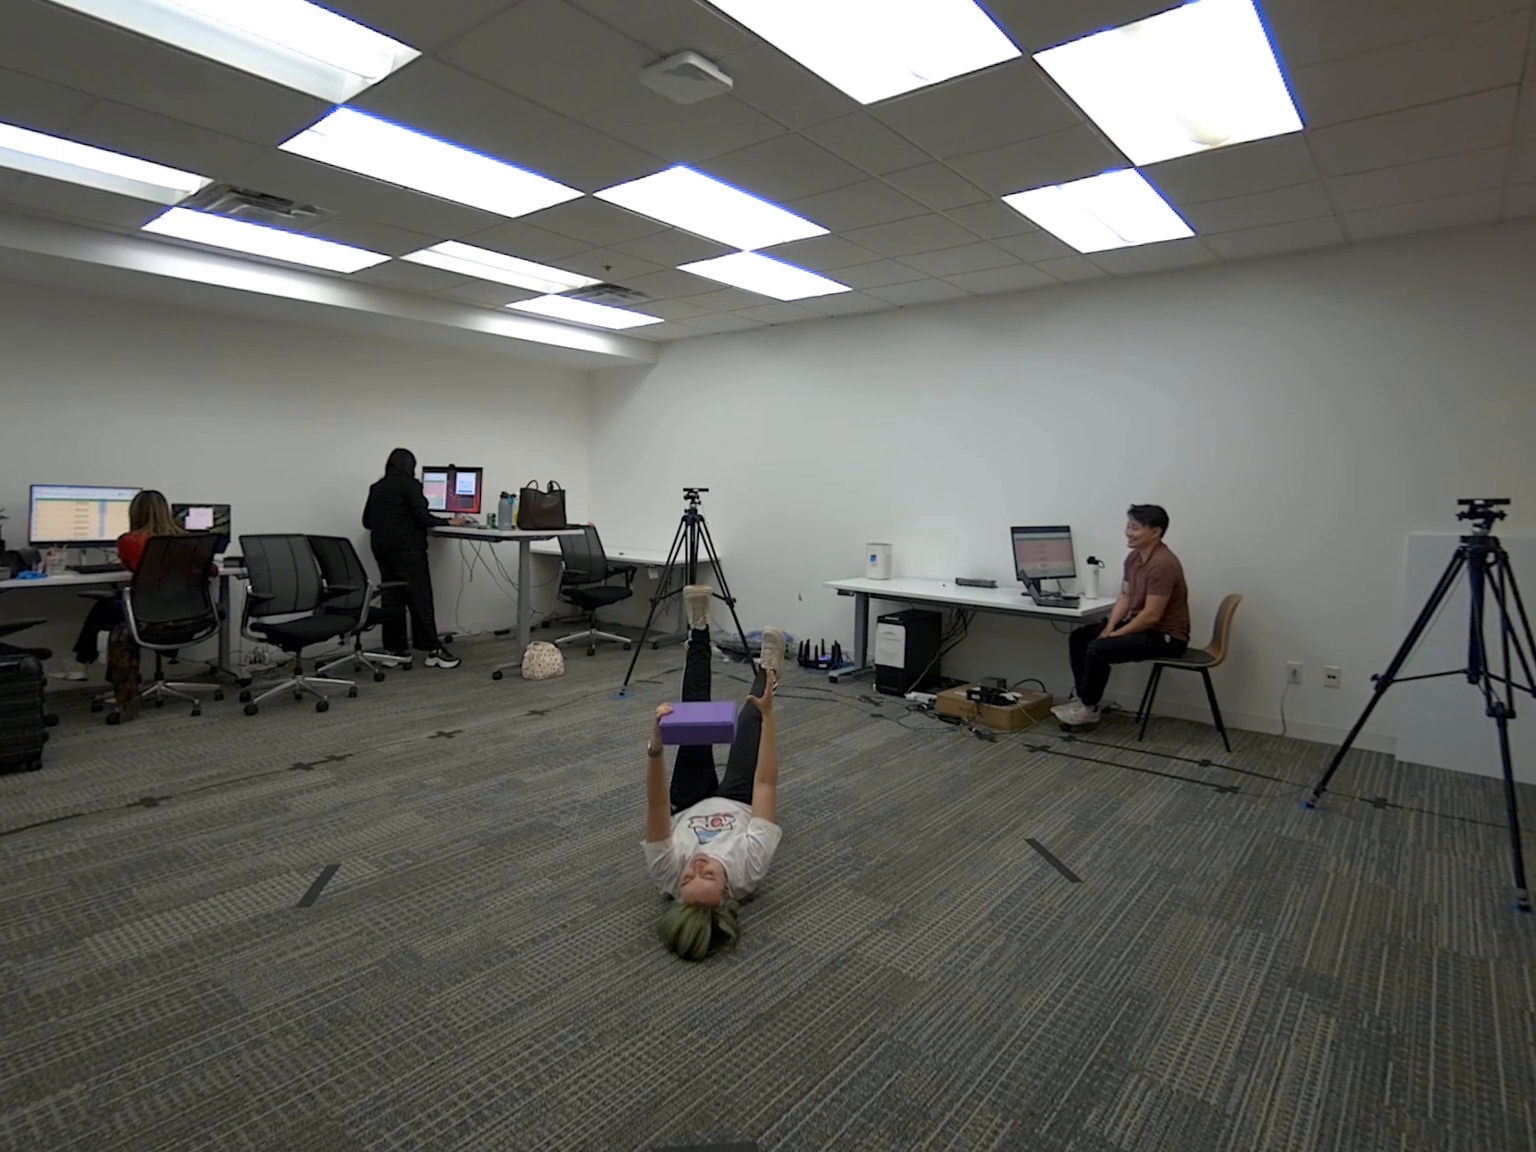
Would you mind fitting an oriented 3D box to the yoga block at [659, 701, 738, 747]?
[{"bbox_3d":[-0.223,0.452,2.648,0.230,0.075,0.151,-3,17,4],"label":"yoga block"}]
